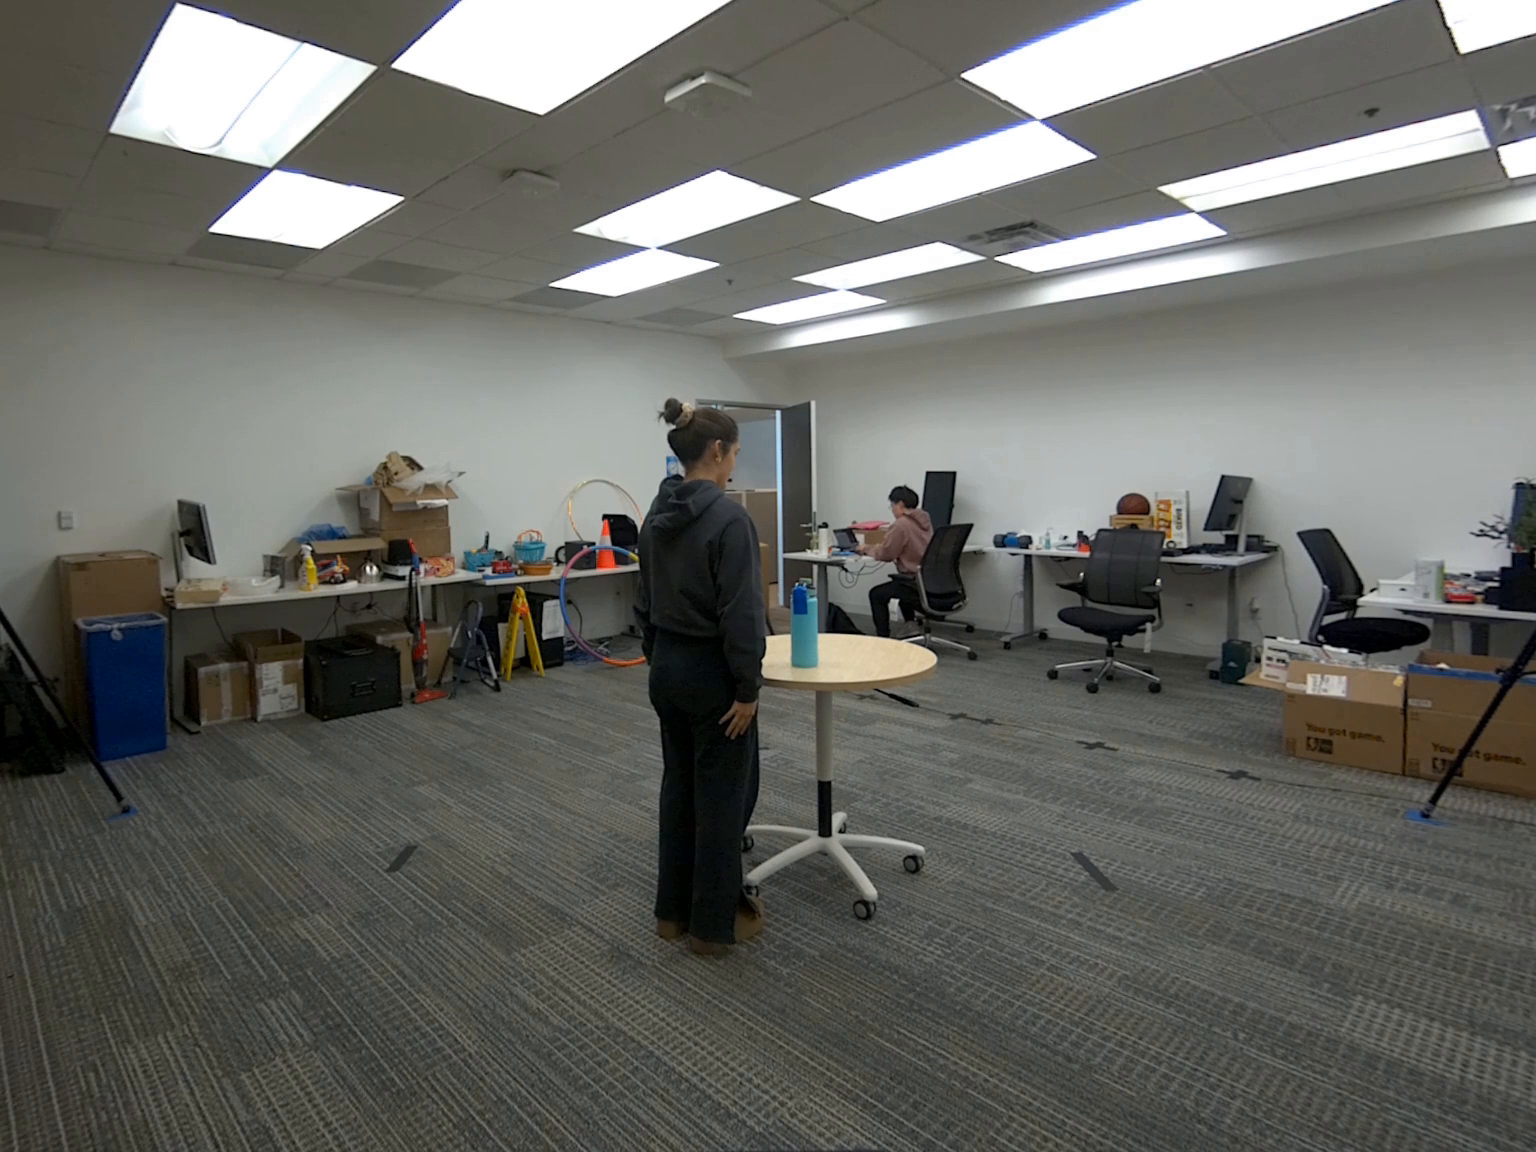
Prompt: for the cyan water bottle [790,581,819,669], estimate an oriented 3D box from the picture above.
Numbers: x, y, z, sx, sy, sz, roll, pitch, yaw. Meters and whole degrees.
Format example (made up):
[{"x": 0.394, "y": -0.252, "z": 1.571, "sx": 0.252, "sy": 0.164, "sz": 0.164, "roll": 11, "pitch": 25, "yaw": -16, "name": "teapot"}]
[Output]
[{"x": 0.122, "y": 0.156, "z": 2.792, "sx": 0.092, "sy": 0.281, "sz": 0.093, "roll": -1, "pitch": 7, "yaw": -1, "name": "cyan water bottle"}]
